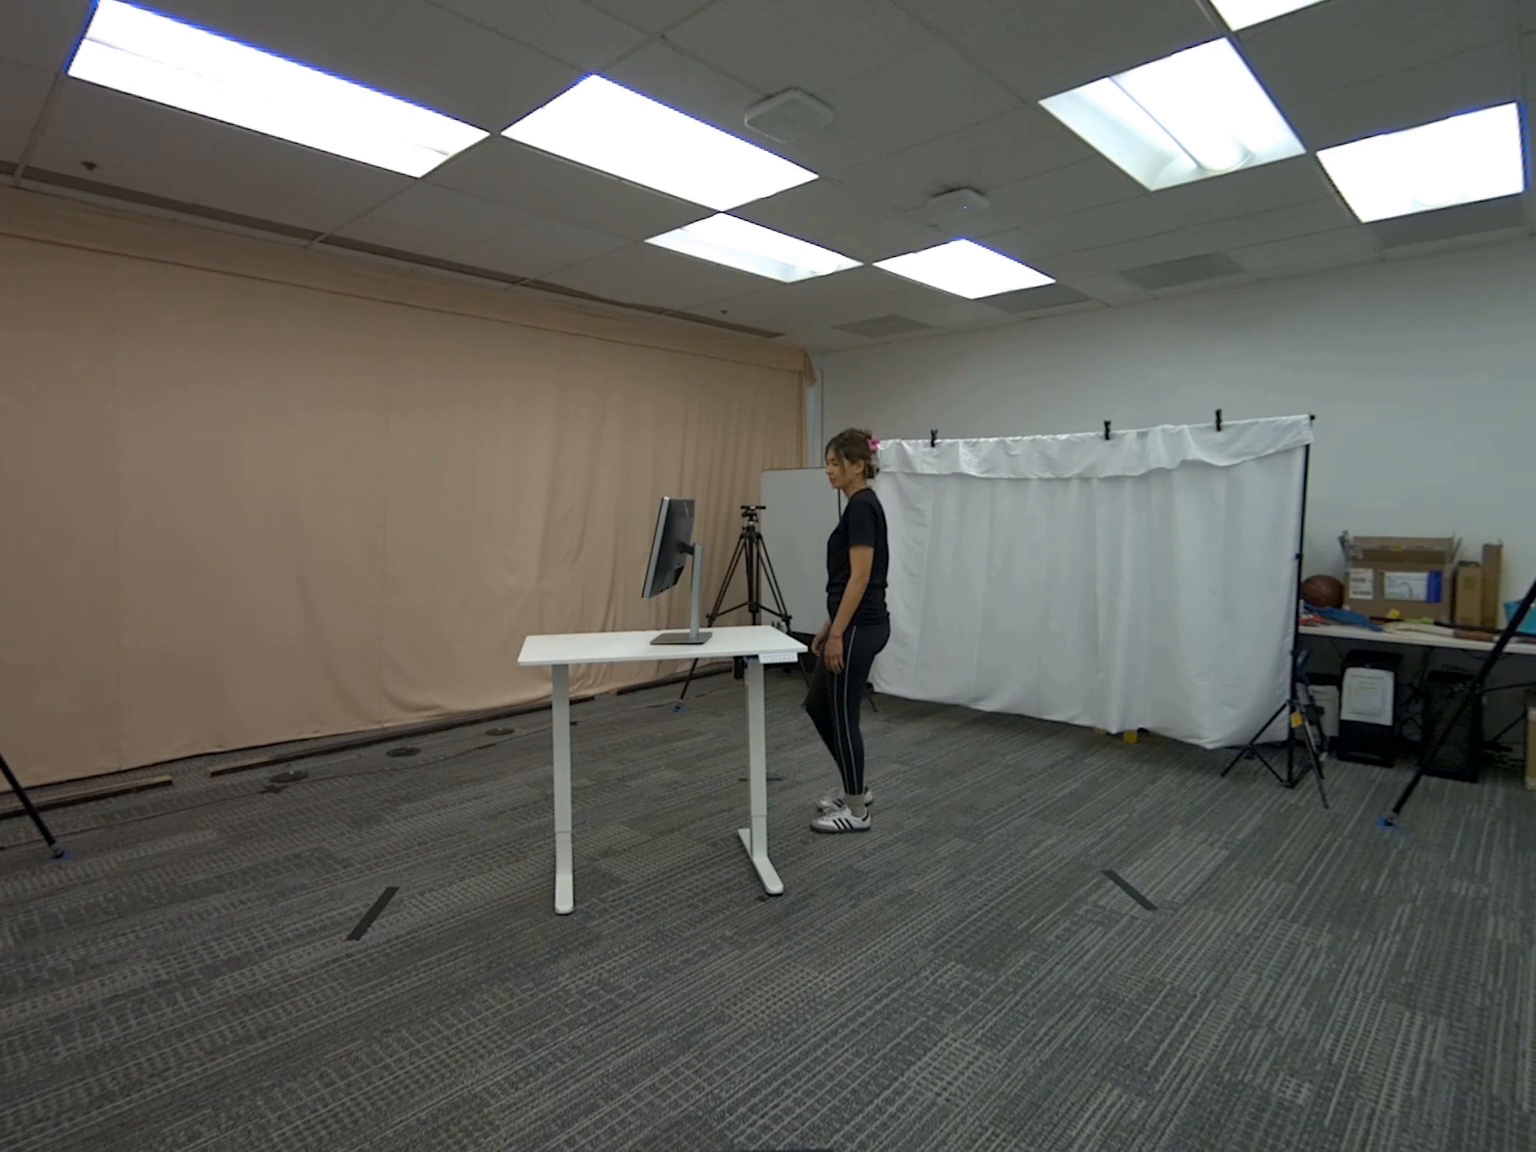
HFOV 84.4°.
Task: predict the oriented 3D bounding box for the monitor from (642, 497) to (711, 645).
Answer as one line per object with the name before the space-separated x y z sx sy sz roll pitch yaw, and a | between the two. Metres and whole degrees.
monitor | -0.325 -0.018 3.184 0.188 0.521 0.537 -1 4 3
